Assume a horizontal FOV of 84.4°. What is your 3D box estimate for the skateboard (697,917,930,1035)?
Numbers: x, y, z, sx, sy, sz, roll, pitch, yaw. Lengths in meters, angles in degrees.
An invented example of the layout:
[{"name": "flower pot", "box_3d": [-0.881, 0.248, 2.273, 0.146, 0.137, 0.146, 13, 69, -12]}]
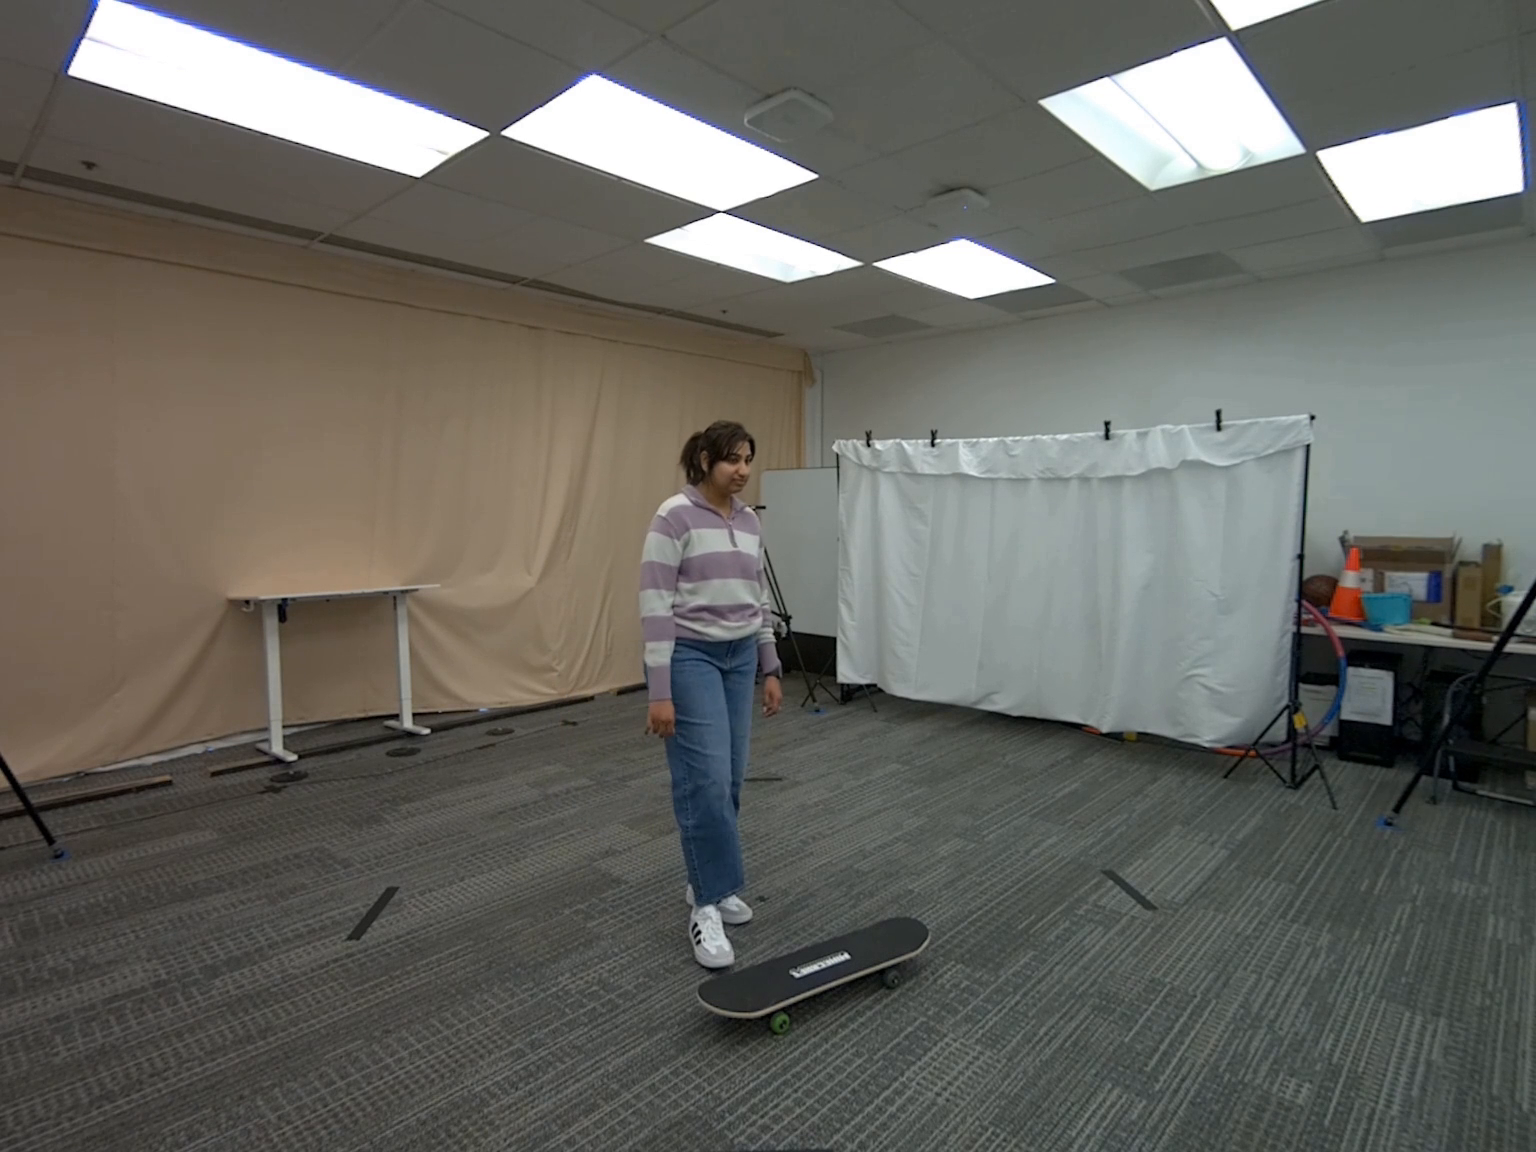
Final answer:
[{"name": "skateboard", "box_3d": [0.157, 1.140, 2.391, 0.764, 0.110, 0.199, -3, 5, -31]}]
